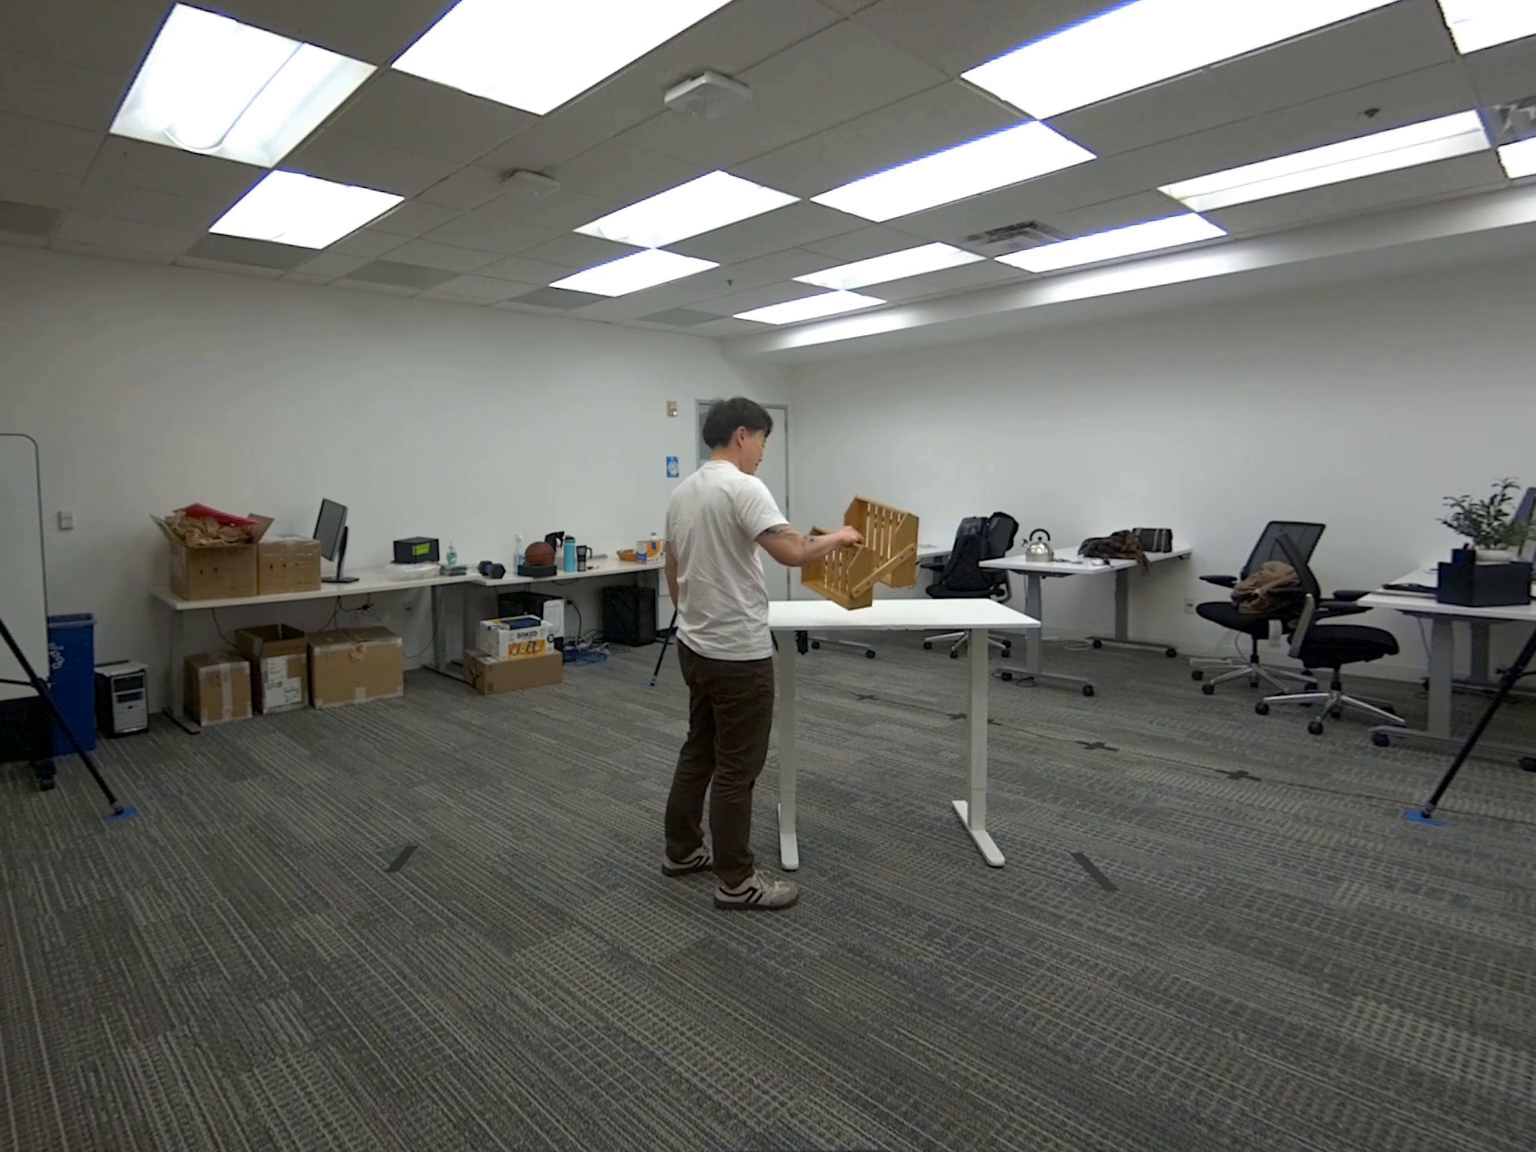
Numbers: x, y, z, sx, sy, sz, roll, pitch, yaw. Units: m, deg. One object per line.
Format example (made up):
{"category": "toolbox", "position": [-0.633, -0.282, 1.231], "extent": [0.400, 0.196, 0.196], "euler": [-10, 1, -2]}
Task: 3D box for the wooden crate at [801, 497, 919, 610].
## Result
{"category": "wooden crate", "position": [0.291, -0.087, 2.870], "extent": [0.268, 0.298, 0.335], "euler": [-8, 18, -26]}
